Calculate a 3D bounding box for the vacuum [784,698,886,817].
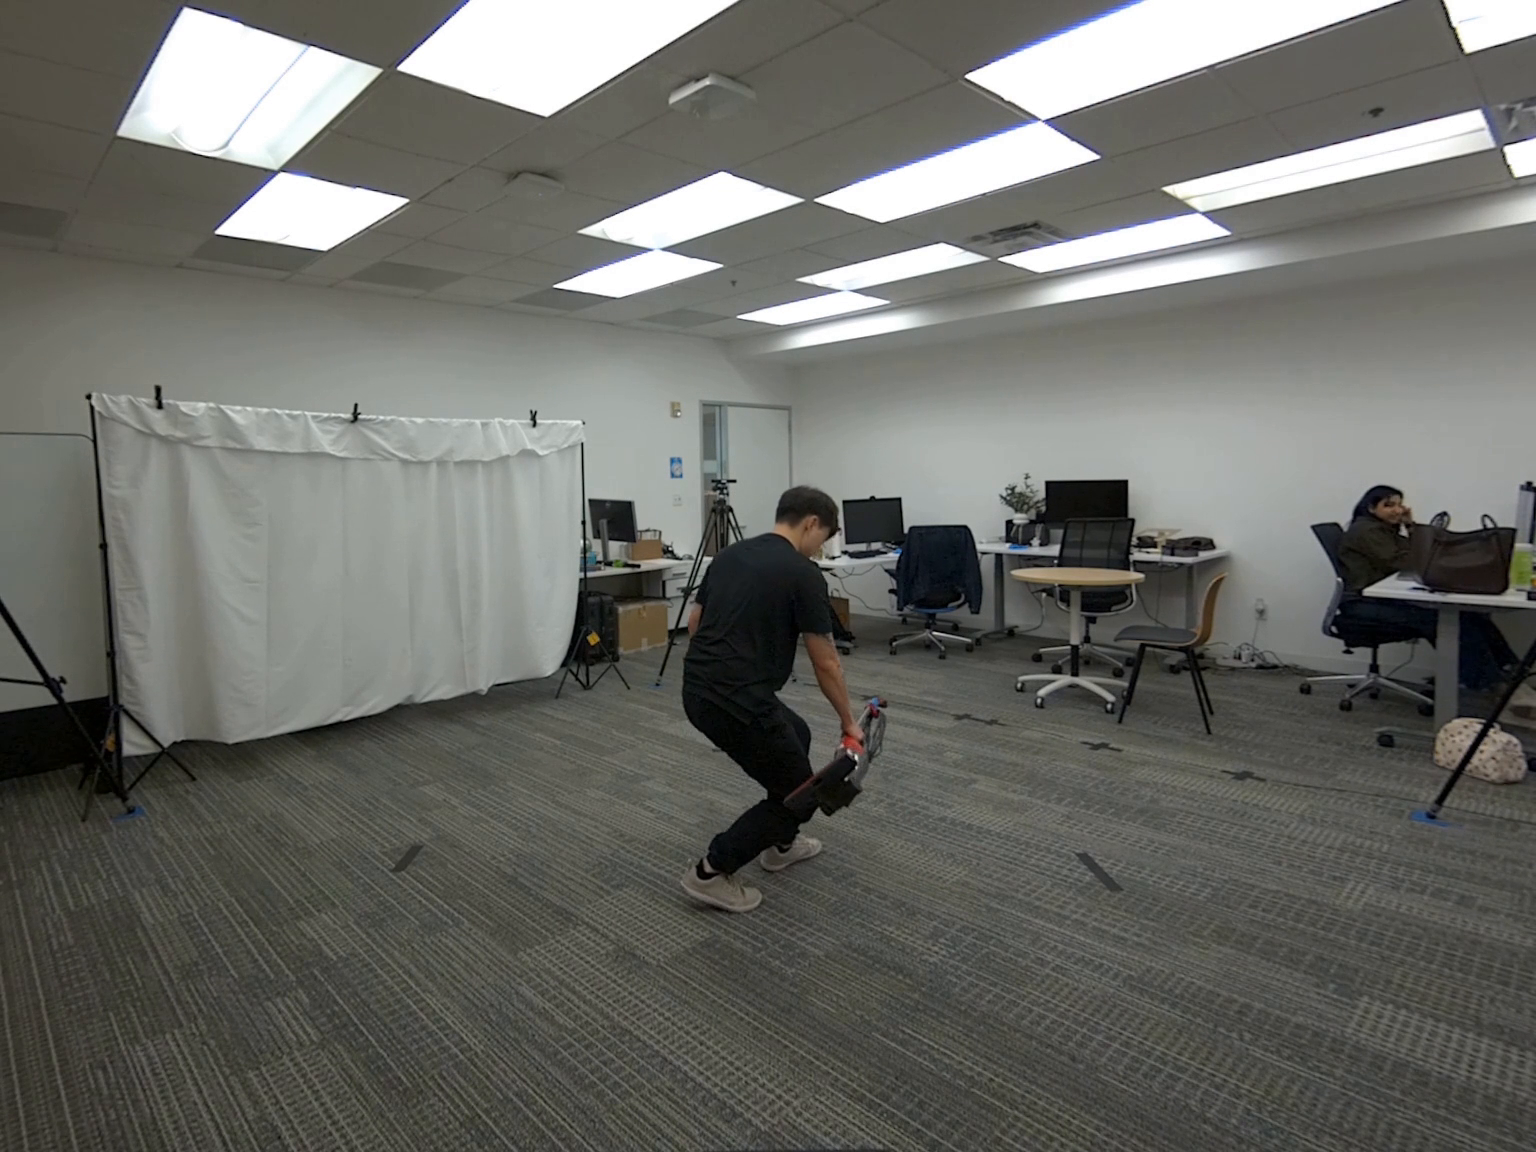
[{"bbox_3d":[0.326,0.584,2.992,0.253,0.145,1.036,-42,-6,16],"label":"vacuum"}]
